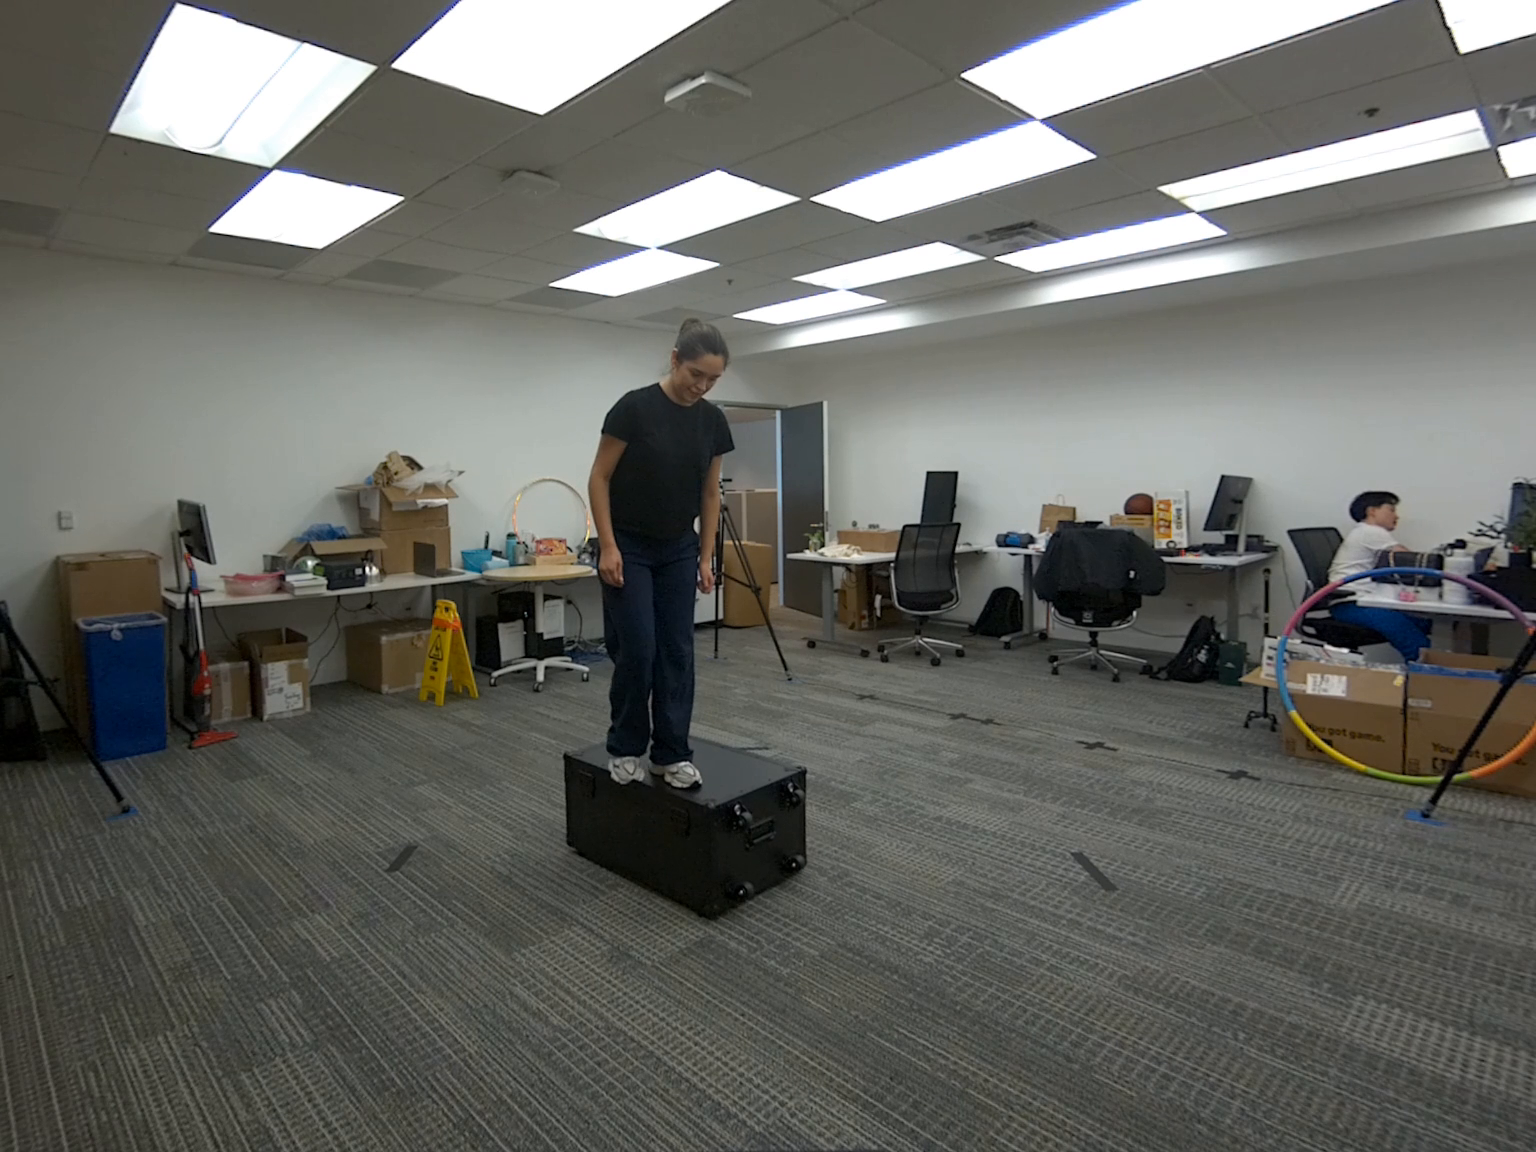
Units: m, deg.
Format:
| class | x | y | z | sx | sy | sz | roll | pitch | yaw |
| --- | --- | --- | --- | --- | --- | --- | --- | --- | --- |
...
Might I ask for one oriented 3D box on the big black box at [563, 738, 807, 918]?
| class | x | y | z | sx | sy | sz | roll | pitch | yaw |
| --- | --- | --- | --- | --- | --- | --- | --- | --- | --- |
| big black box | -0.294 | 0.858 | 3.108 | 0.888 | 0.394 | 0.508 | 4 | 7 | 42 |
